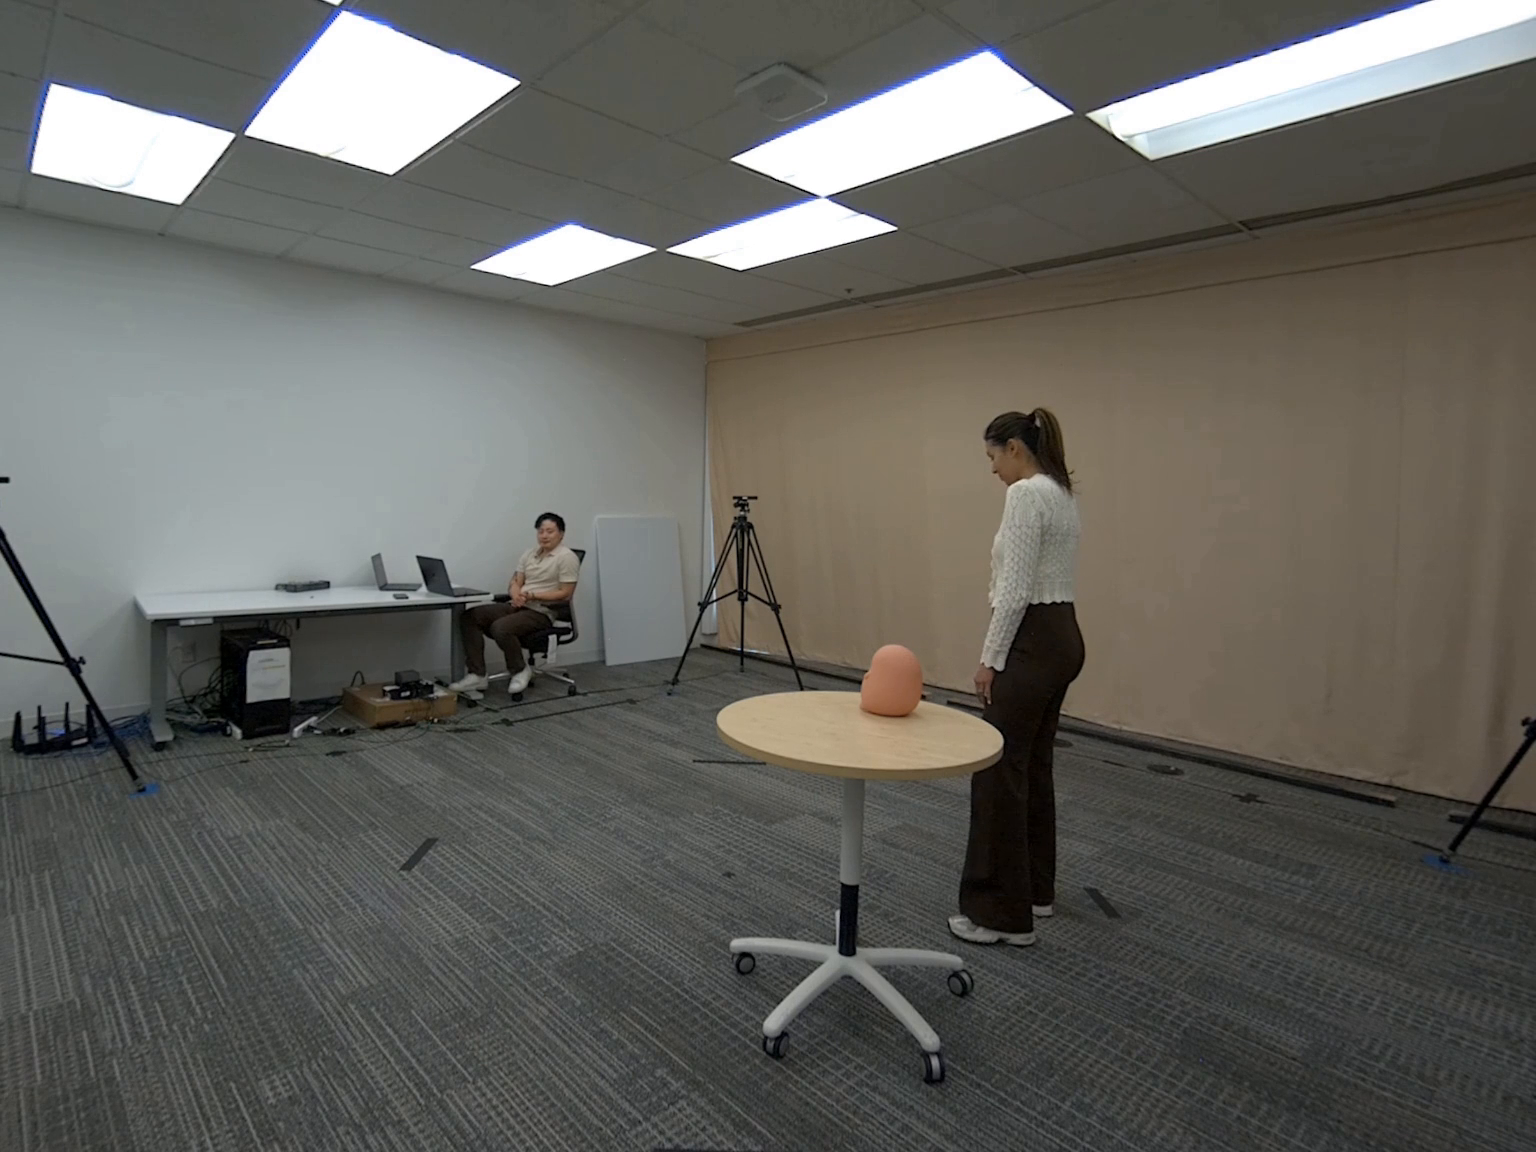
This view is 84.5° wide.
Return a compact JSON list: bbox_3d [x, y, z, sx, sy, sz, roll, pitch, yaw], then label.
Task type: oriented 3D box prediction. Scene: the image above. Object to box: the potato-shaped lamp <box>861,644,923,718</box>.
[{"bbox_3d":[0.350,0.298,2.423,0.176,0.198,0.161,7,3,42],"label":"potato-shaped lamp"}]
